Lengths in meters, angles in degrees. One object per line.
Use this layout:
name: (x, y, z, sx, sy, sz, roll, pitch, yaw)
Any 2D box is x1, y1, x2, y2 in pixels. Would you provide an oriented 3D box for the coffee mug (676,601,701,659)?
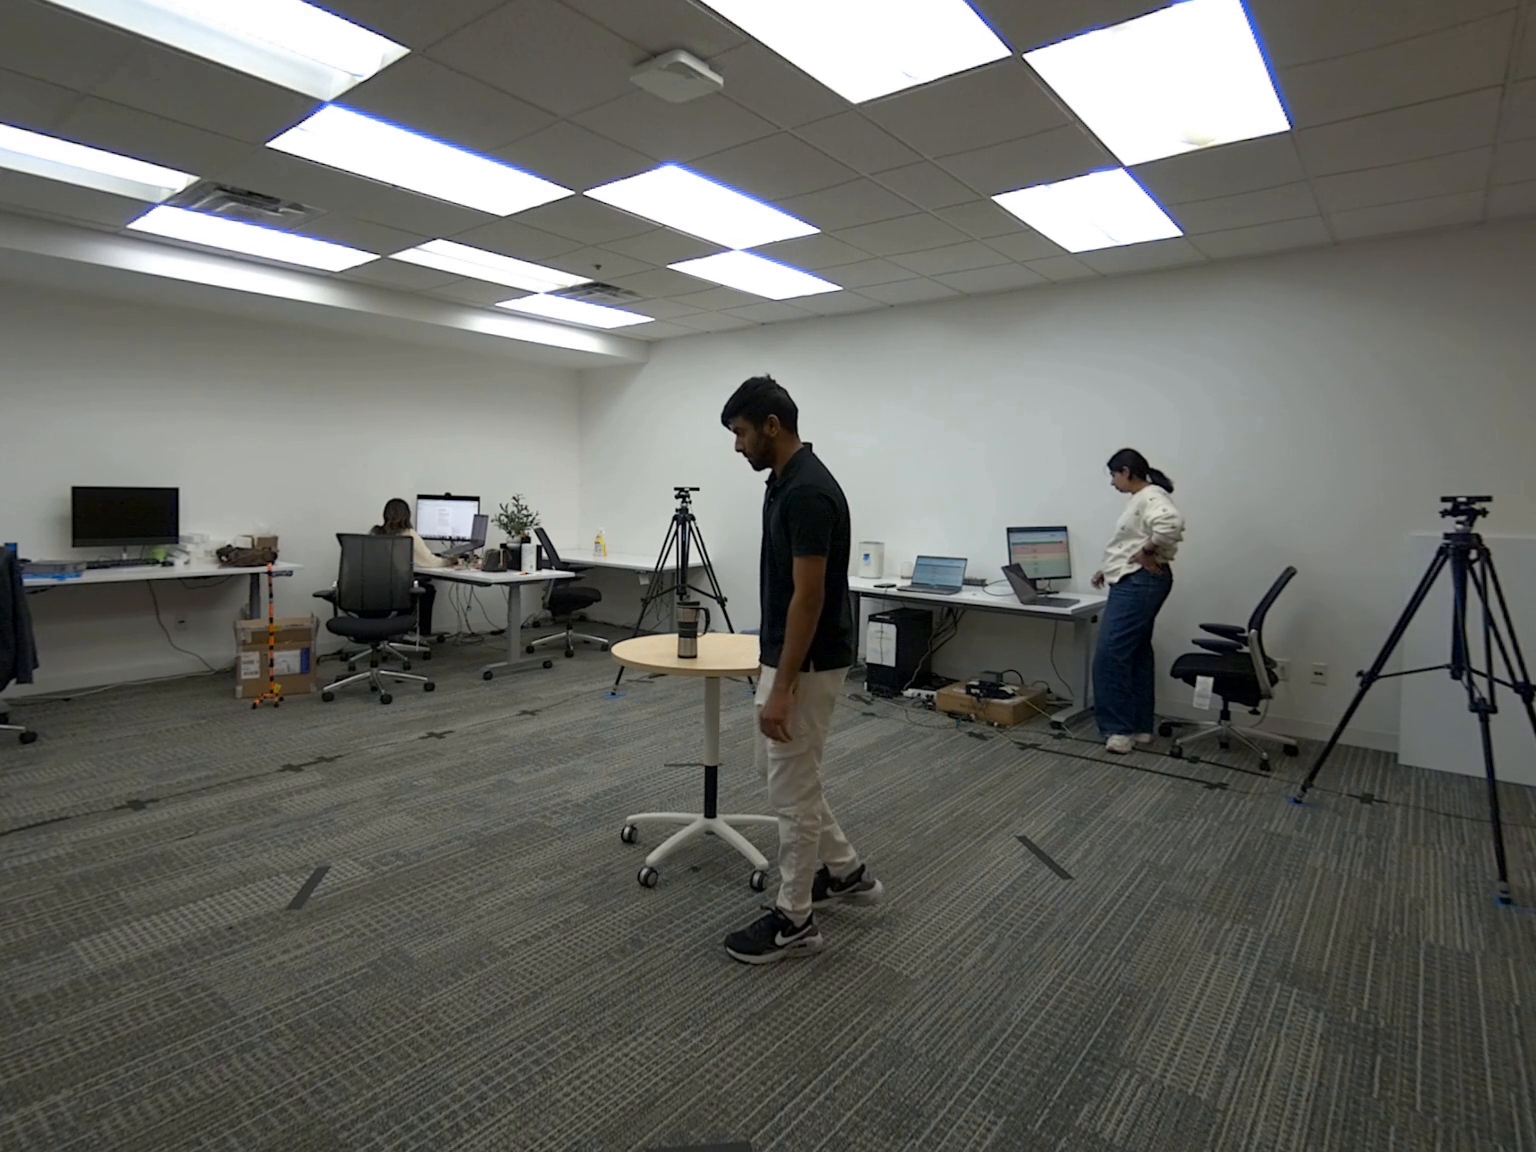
coffee mug: (-0.279, 0.188, 3.018, 0.085, 0.203, 0.126, 5, -3, -44)
